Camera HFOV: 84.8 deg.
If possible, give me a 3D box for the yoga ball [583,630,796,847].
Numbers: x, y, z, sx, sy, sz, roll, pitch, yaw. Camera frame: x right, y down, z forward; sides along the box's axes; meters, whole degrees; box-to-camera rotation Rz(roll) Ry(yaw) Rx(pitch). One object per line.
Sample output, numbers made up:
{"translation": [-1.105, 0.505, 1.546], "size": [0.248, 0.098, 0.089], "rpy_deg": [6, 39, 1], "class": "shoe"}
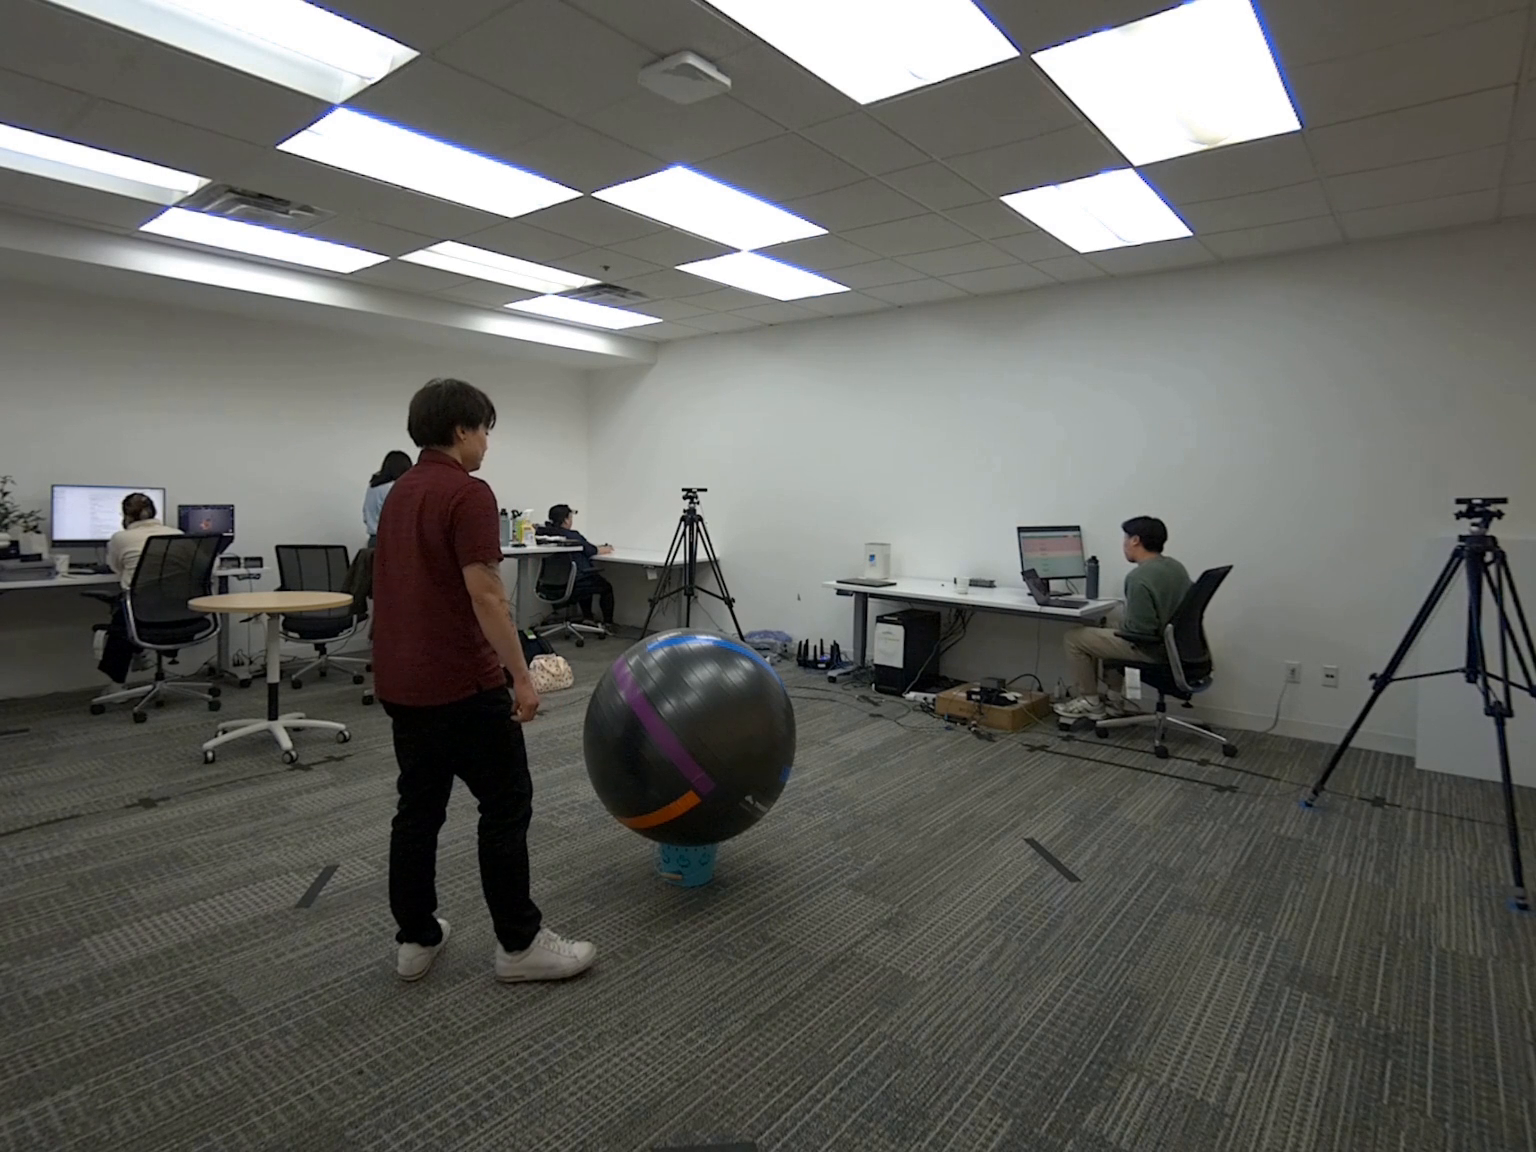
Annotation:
{"translation": [-0.283, 0.561, 3.034], "size": [0.757, 0.756, 0.761], "rpy_deg": [1, 4, -2], "class": "yoga ball"}
